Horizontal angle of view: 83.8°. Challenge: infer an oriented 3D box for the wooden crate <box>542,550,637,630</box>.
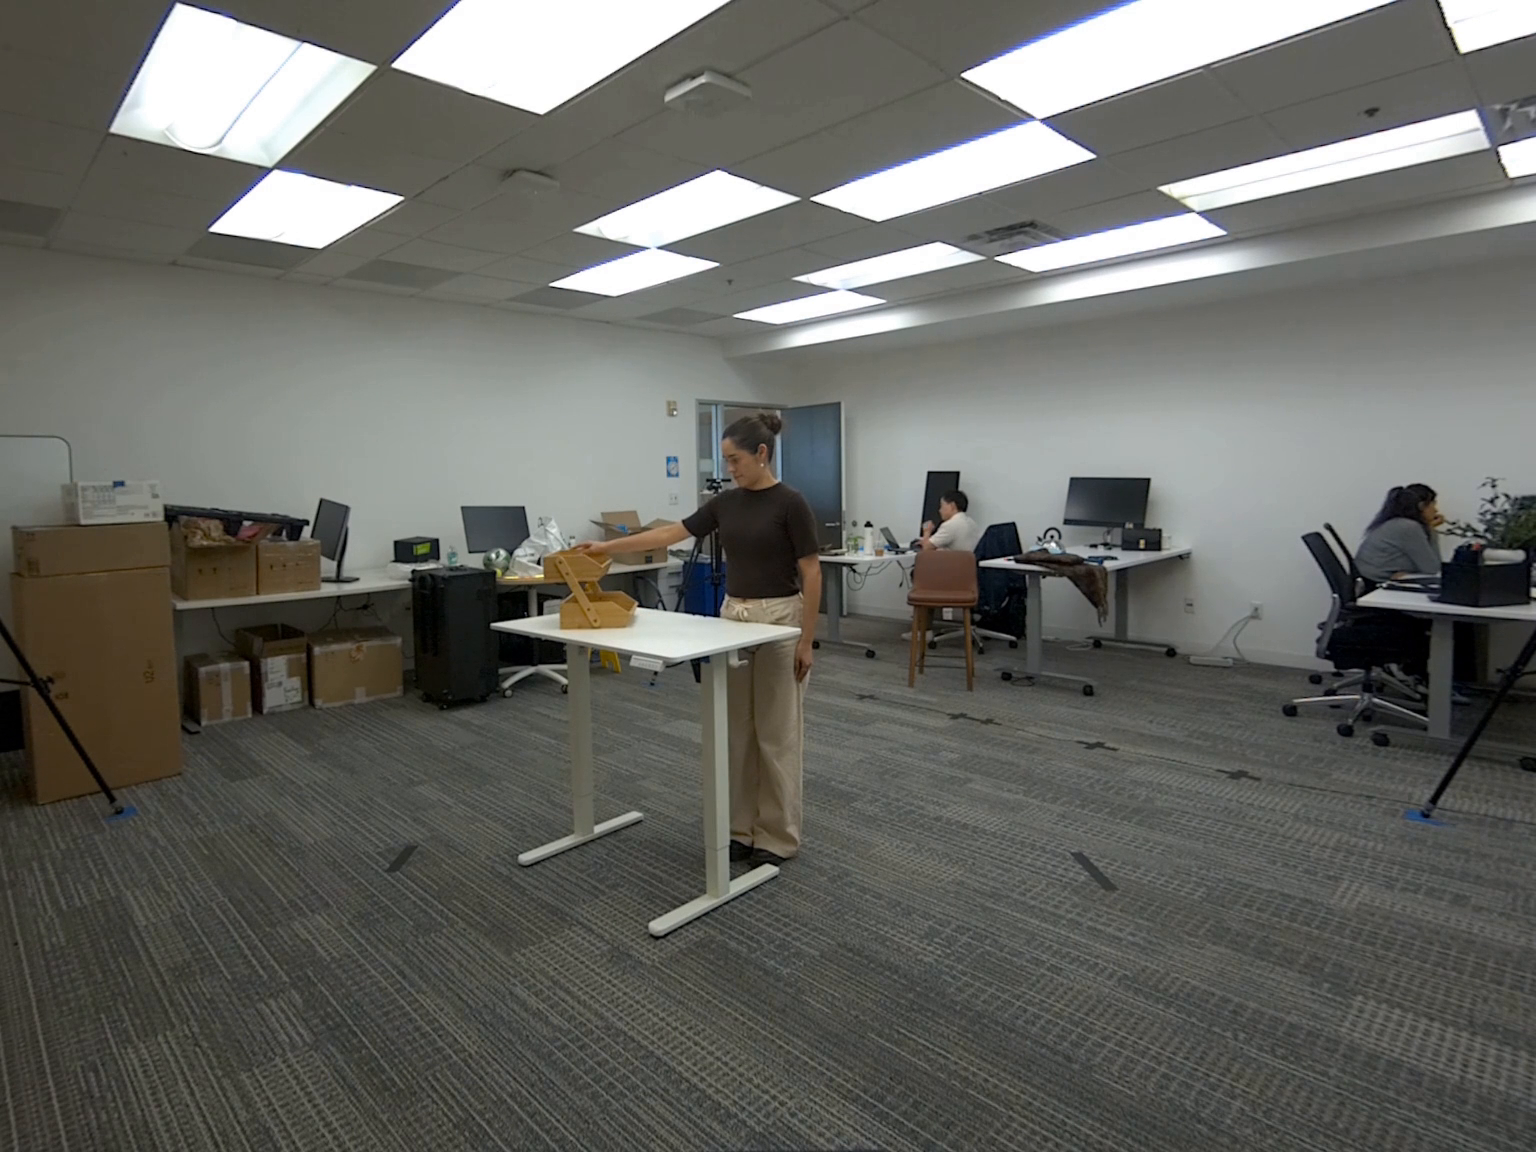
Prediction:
[{"bbox_3d":[-0.644,0.037,3.144,0.302,0.273,0.325,-4,3,-1],"label":"wooden crate"}]
